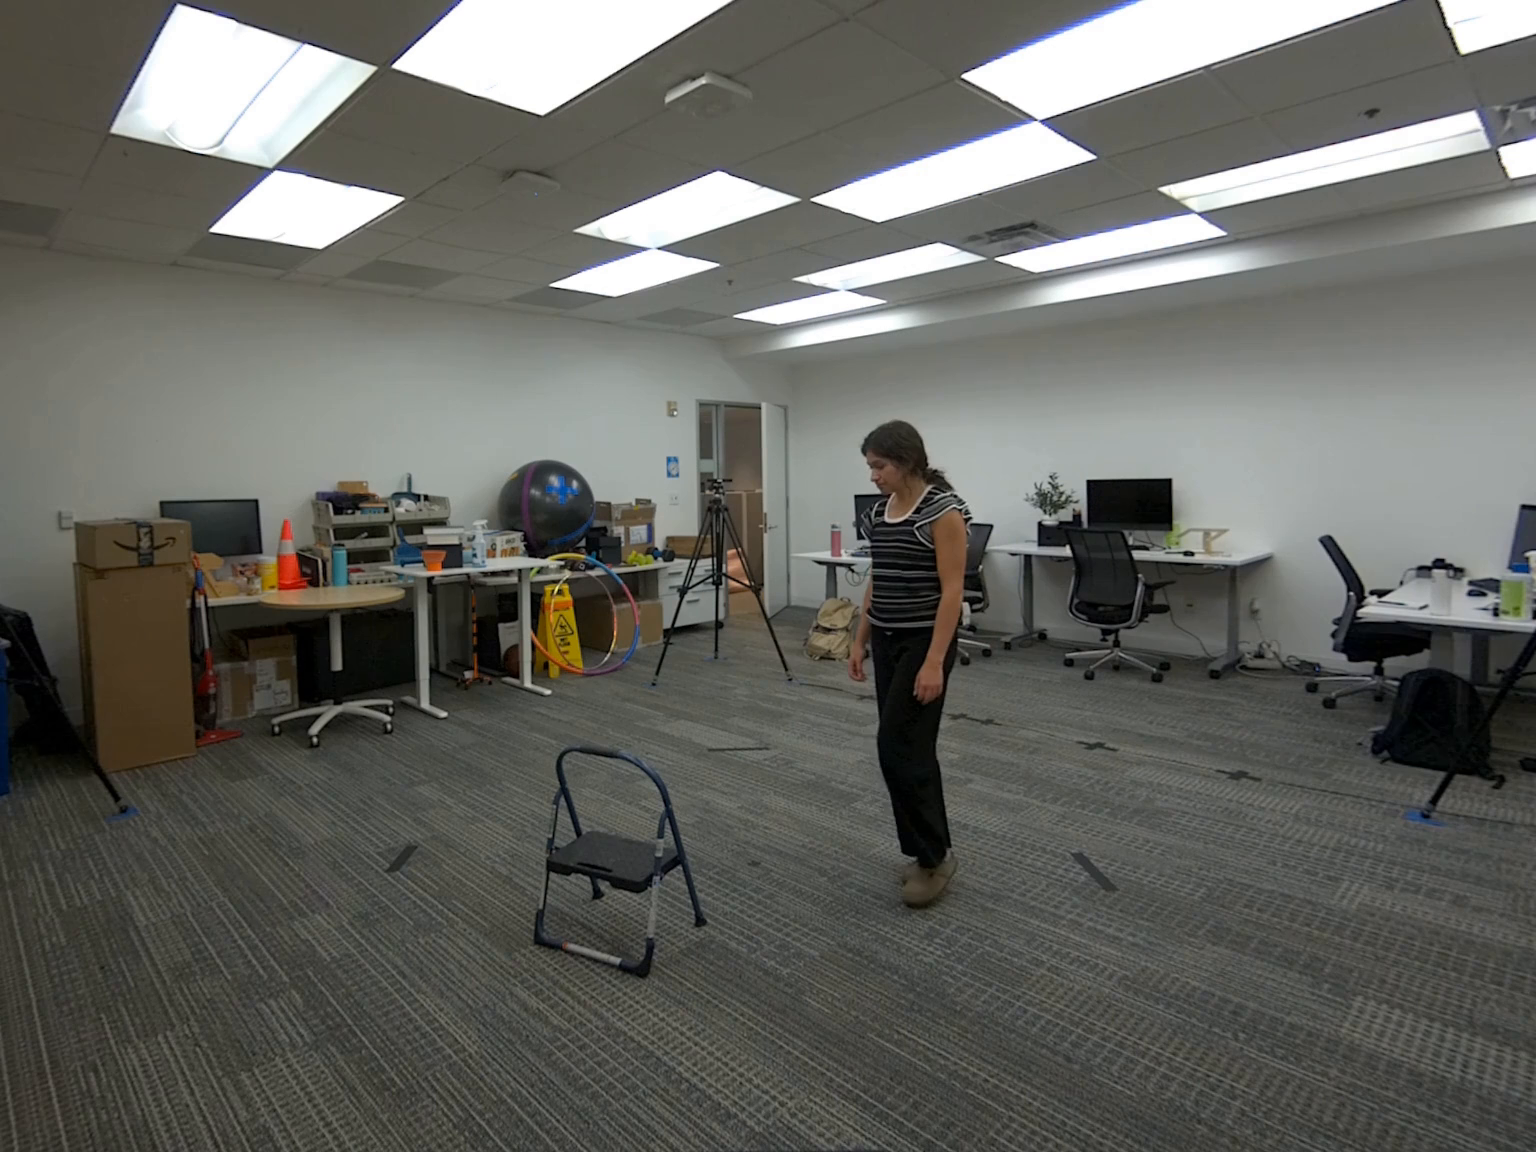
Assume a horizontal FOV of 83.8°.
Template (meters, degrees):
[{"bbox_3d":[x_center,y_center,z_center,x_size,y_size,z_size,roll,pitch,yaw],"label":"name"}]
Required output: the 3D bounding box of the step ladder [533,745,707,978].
[{"bbox_3d":[-0.462,0.808,2.631,0.441,0.604,0.342,1,4,26],"label":"step ladder"}]
